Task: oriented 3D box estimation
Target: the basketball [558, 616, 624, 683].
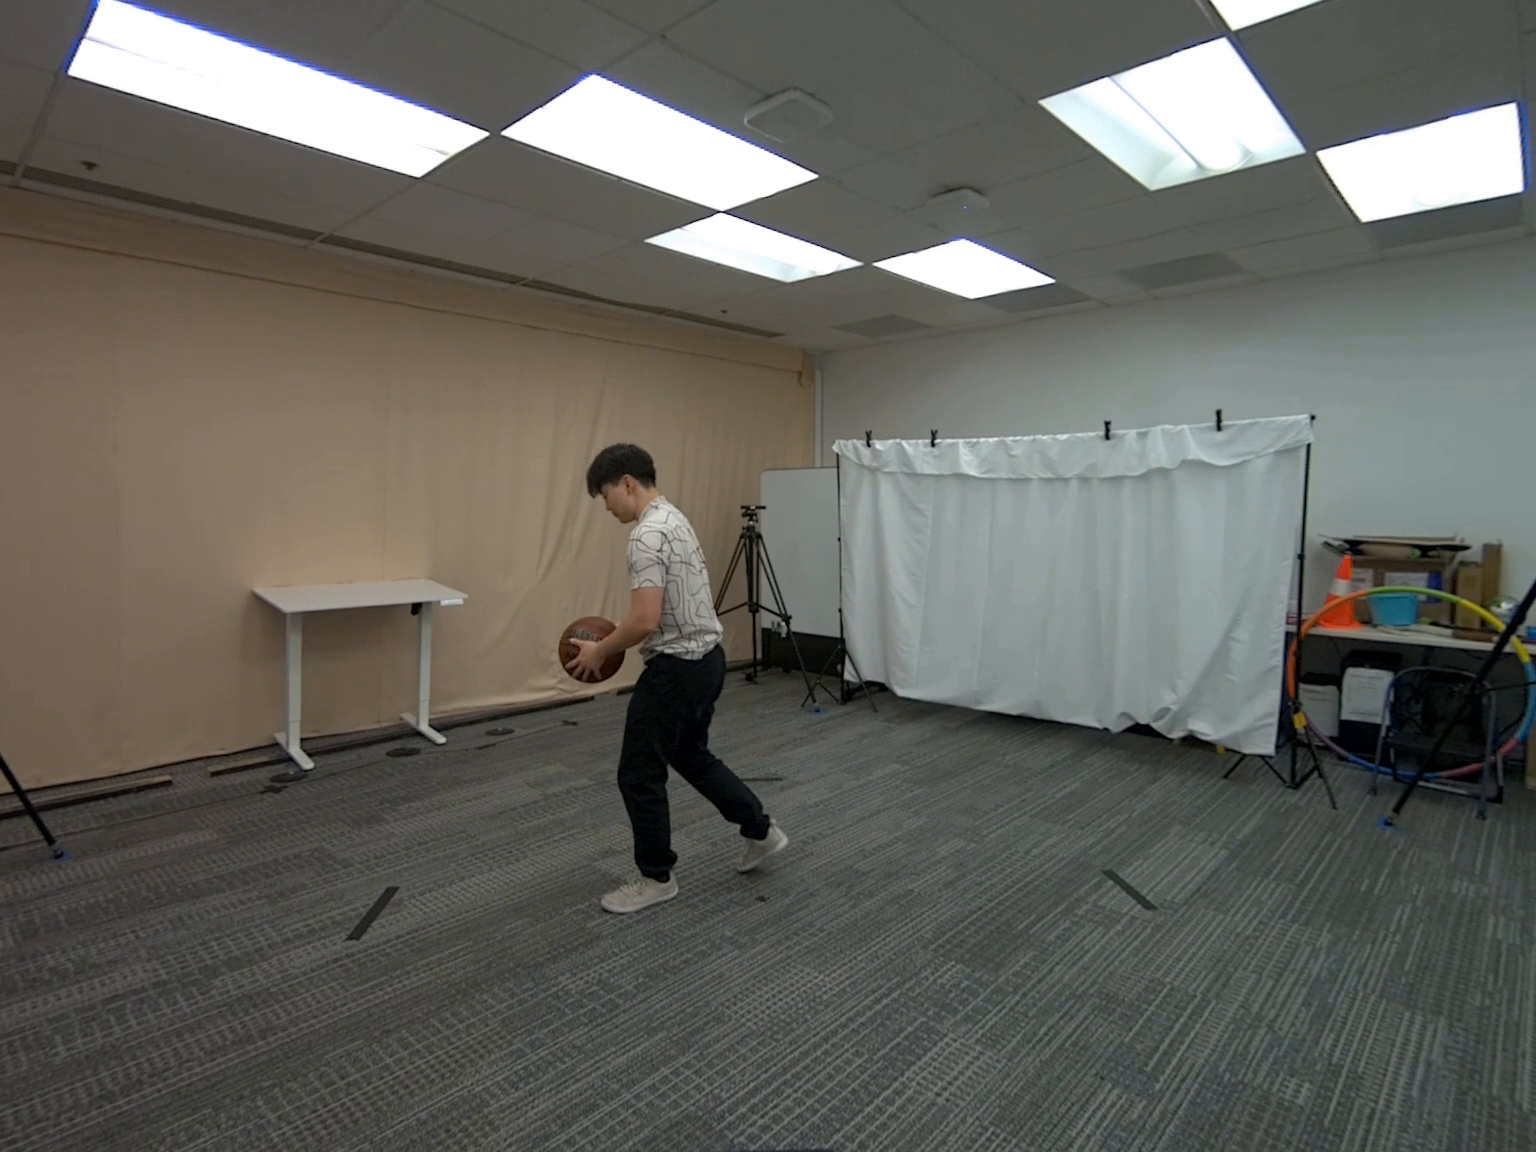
[{"bbox_3d":[-0.635,0.248,3.025,0.236,0.235,0.237,0,4,-2],"label":"basketball"}]
